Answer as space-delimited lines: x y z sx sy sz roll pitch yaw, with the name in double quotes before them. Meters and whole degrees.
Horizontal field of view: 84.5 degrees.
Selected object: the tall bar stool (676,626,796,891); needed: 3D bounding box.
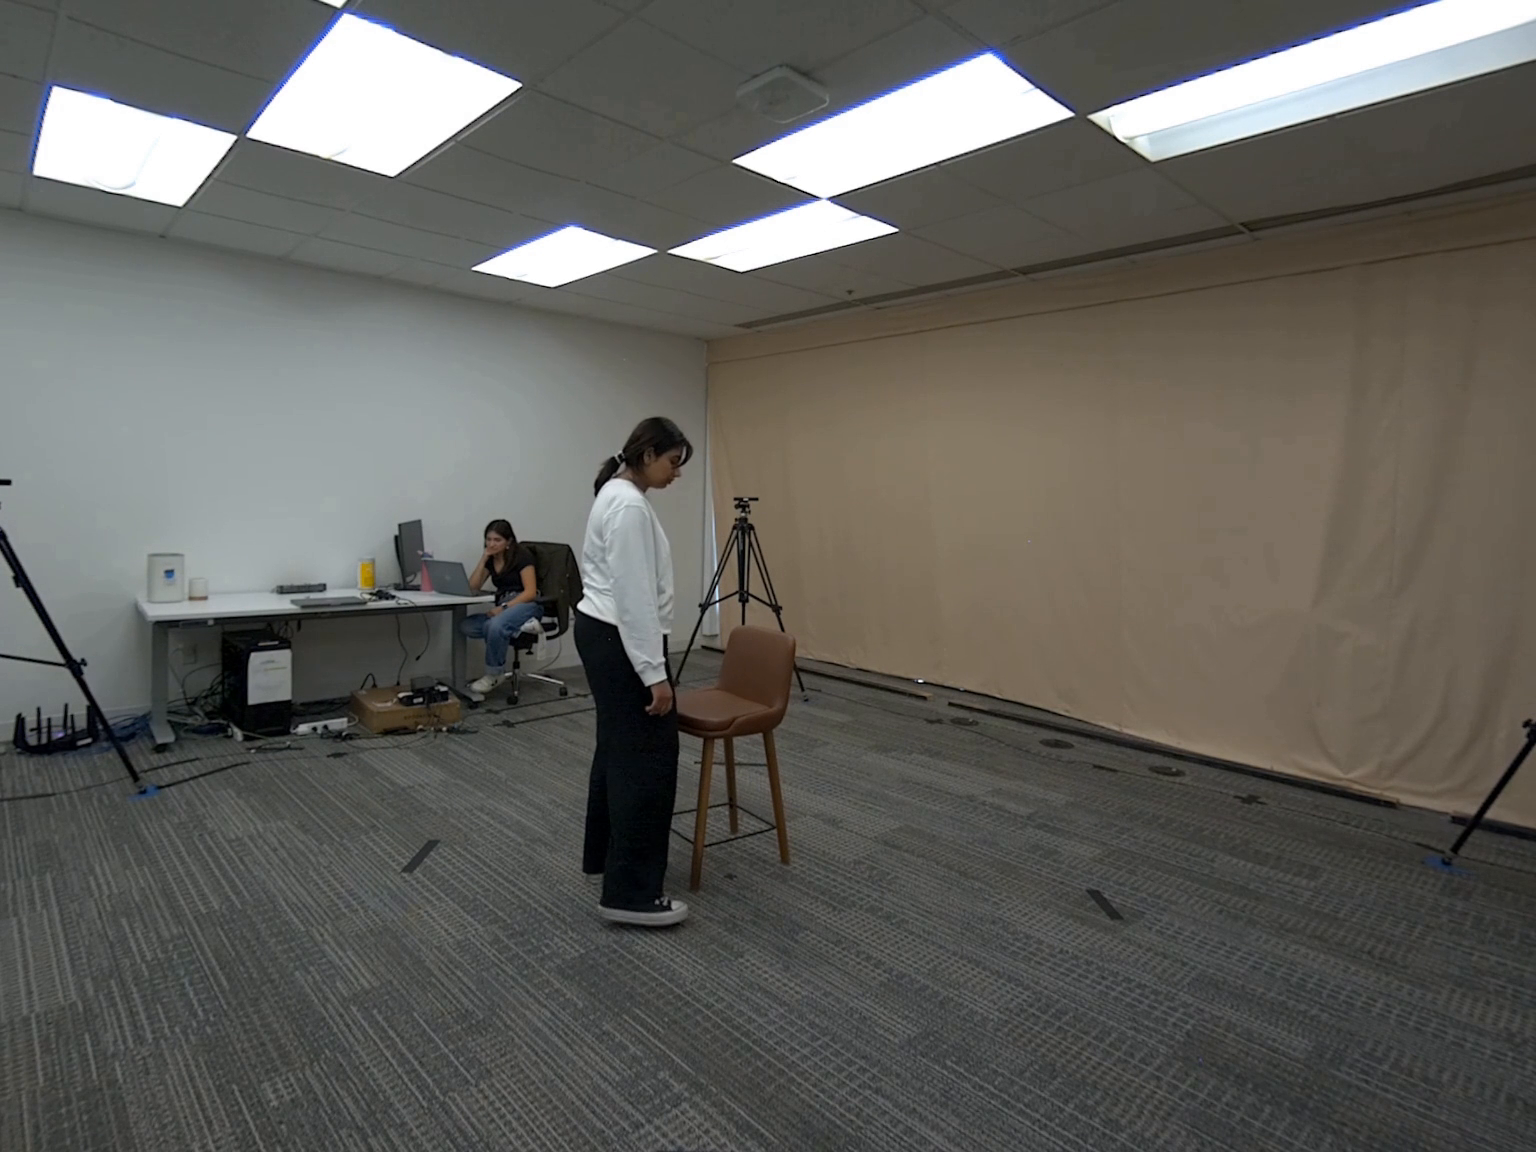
"tall bar stool" -0.198 0.655 3.236 0.457 0.888 0.467 1 2 -36
